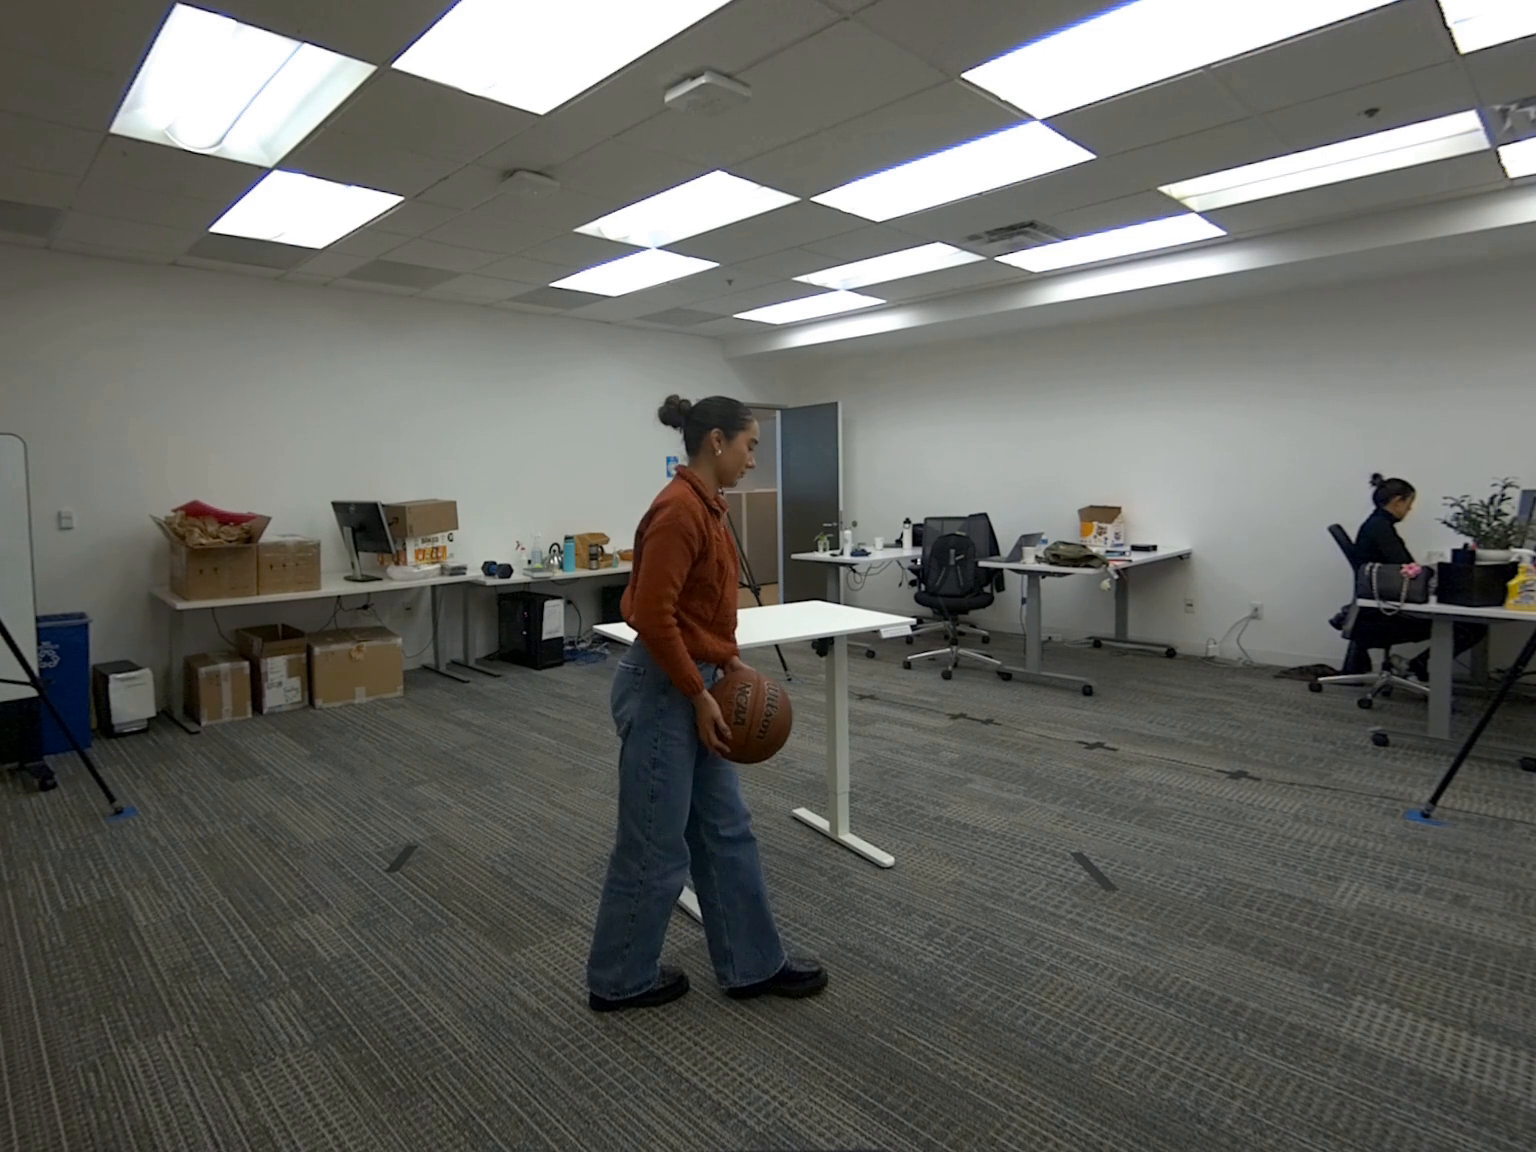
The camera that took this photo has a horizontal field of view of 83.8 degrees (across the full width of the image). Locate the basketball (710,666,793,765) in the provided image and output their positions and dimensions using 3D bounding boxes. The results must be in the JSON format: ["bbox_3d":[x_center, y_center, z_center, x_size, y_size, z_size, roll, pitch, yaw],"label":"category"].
[{"bbox_3d":[-0.058,0.358,2.200,0.236,0.235,0.237,-1,5,-2],"label":"basketball"}]
